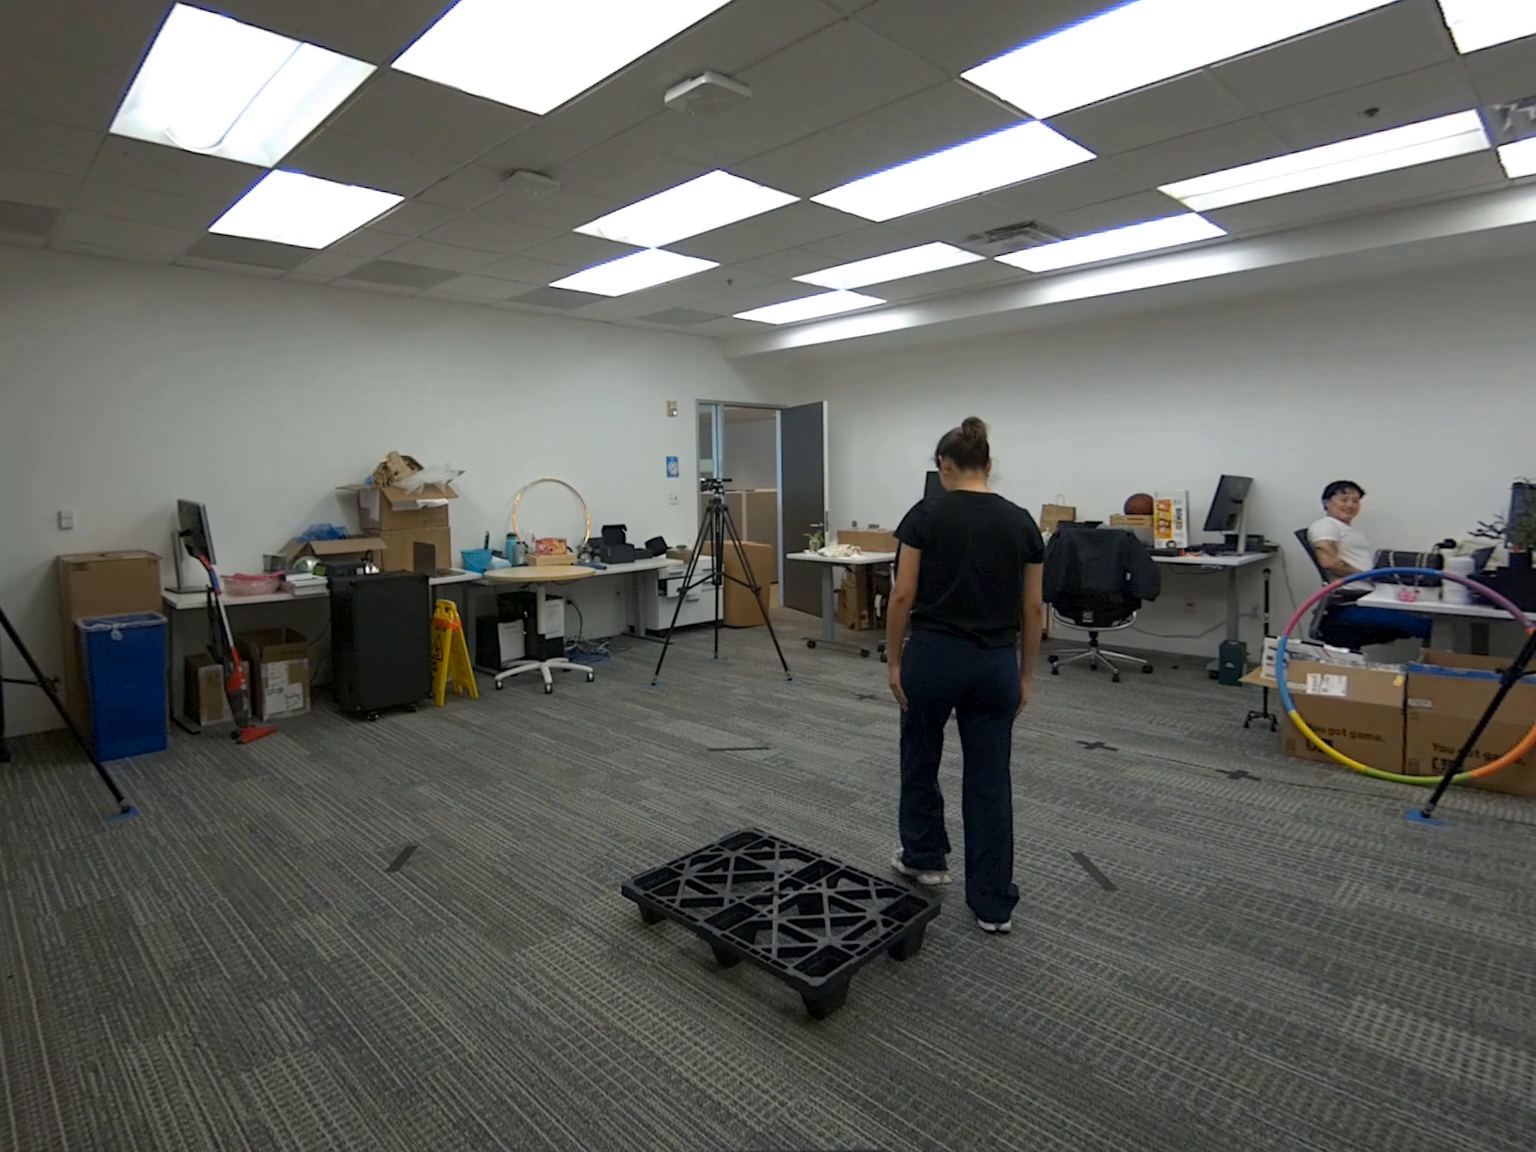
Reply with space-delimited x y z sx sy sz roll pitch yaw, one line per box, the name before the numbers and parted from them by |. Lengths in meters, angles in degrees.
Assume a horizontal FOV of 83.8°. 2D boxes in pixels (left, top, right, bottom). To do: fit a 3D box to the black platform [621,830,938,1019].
black platform | 0.028 1.031 2.639 0.831 0.143 0.589 6 9 44
